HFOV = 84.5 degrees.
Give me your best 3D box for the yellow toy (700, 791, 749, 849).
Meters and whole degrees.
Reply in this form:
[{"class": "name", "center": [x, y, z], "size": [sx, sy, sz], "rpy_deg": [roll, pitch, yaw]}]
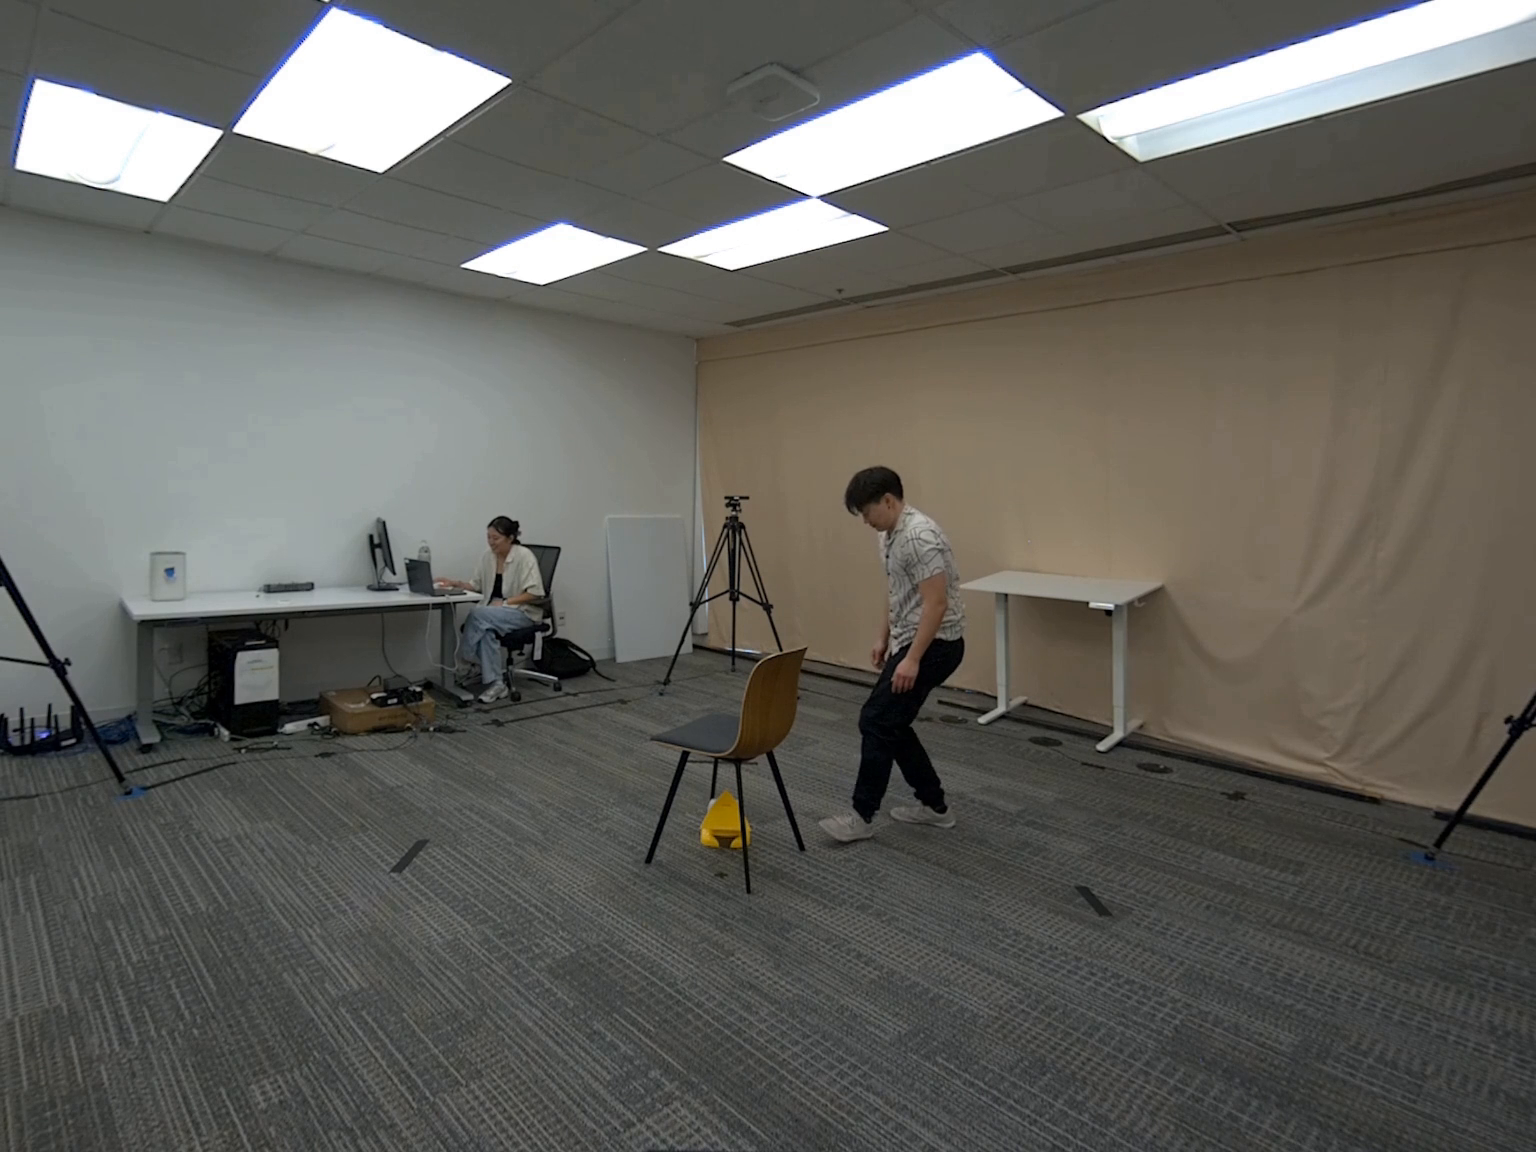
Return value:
[{"class": "yellow toy", "center": [-0.176, 0.958, 3.416], "size": [0.205, 0.230, 0.194], "rpy_deg": [2, 5, 0]}]
